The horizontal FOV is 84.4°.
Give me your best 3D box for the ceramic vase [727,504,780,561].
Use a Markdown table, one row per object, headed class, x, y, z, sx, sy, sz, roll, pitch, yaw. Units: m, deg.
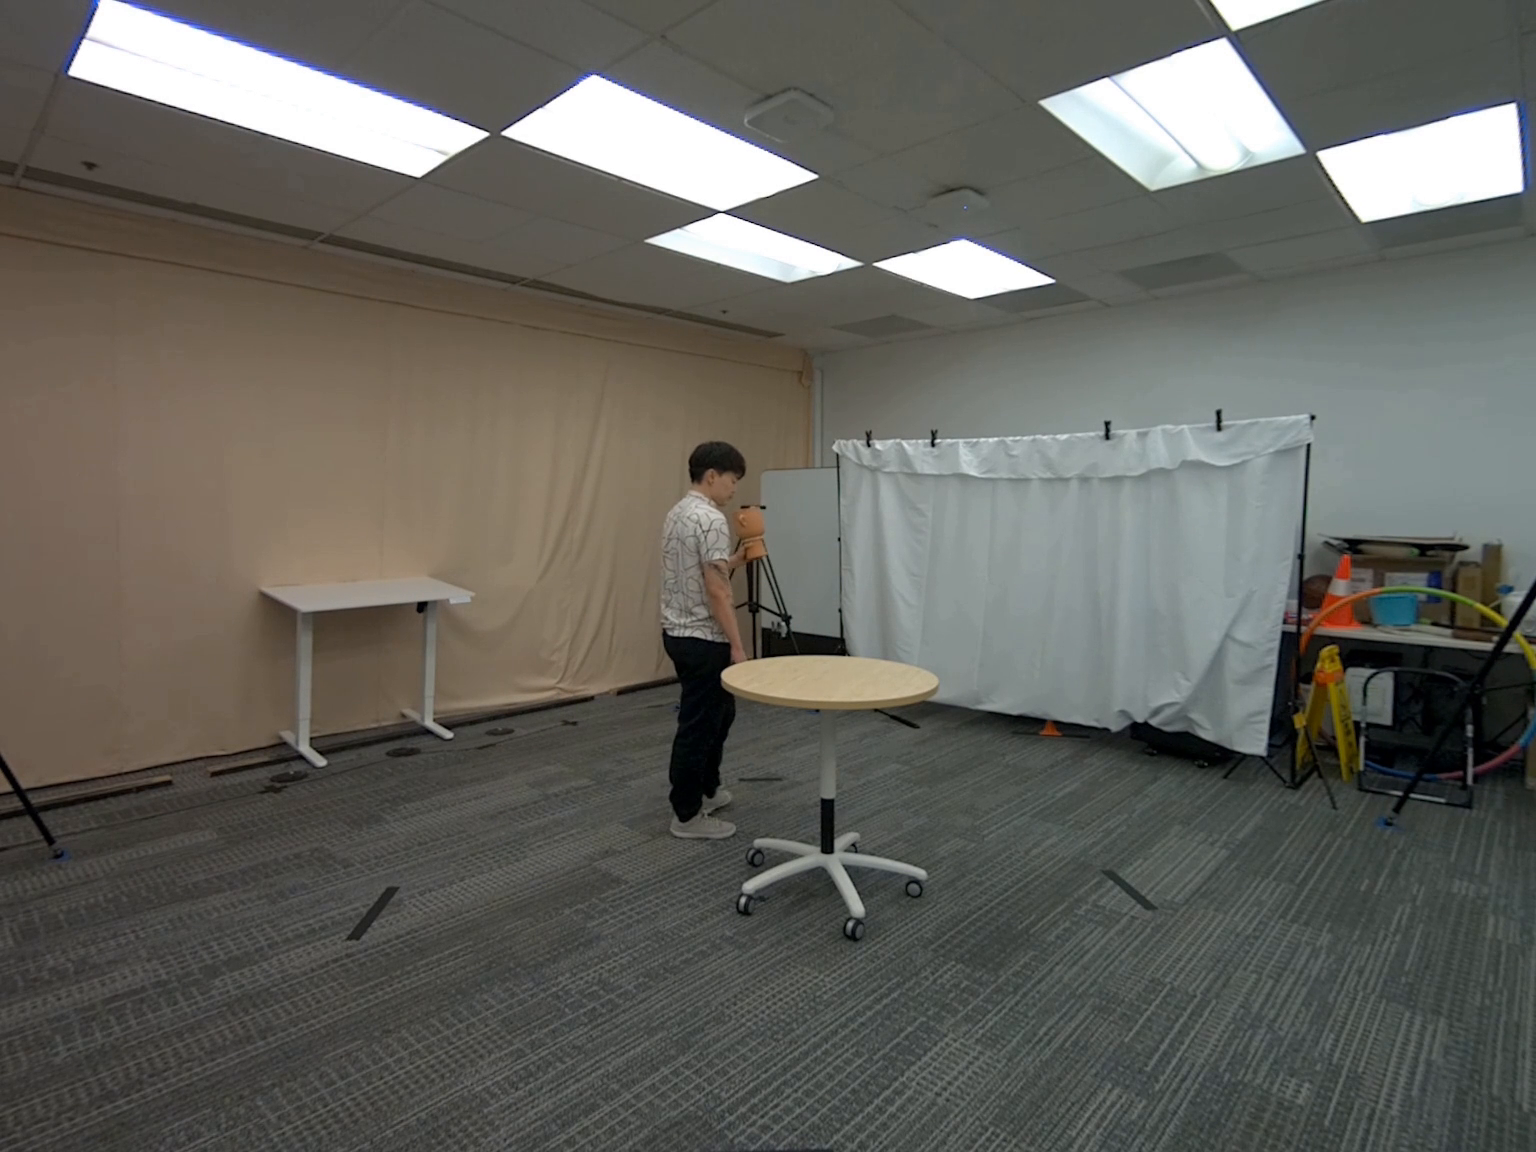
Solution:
| class | x | y | z | sx | sy | sz | roll | pitch | yaw |
| --- | --- | --- | --- | --- | --- | --- | --- | --- | --- |
| ceramic vase | -0.078 | -0.194 | 3.812 | 0.155 | 0.220 | 0.137 | -11 | -4 | -30 |
